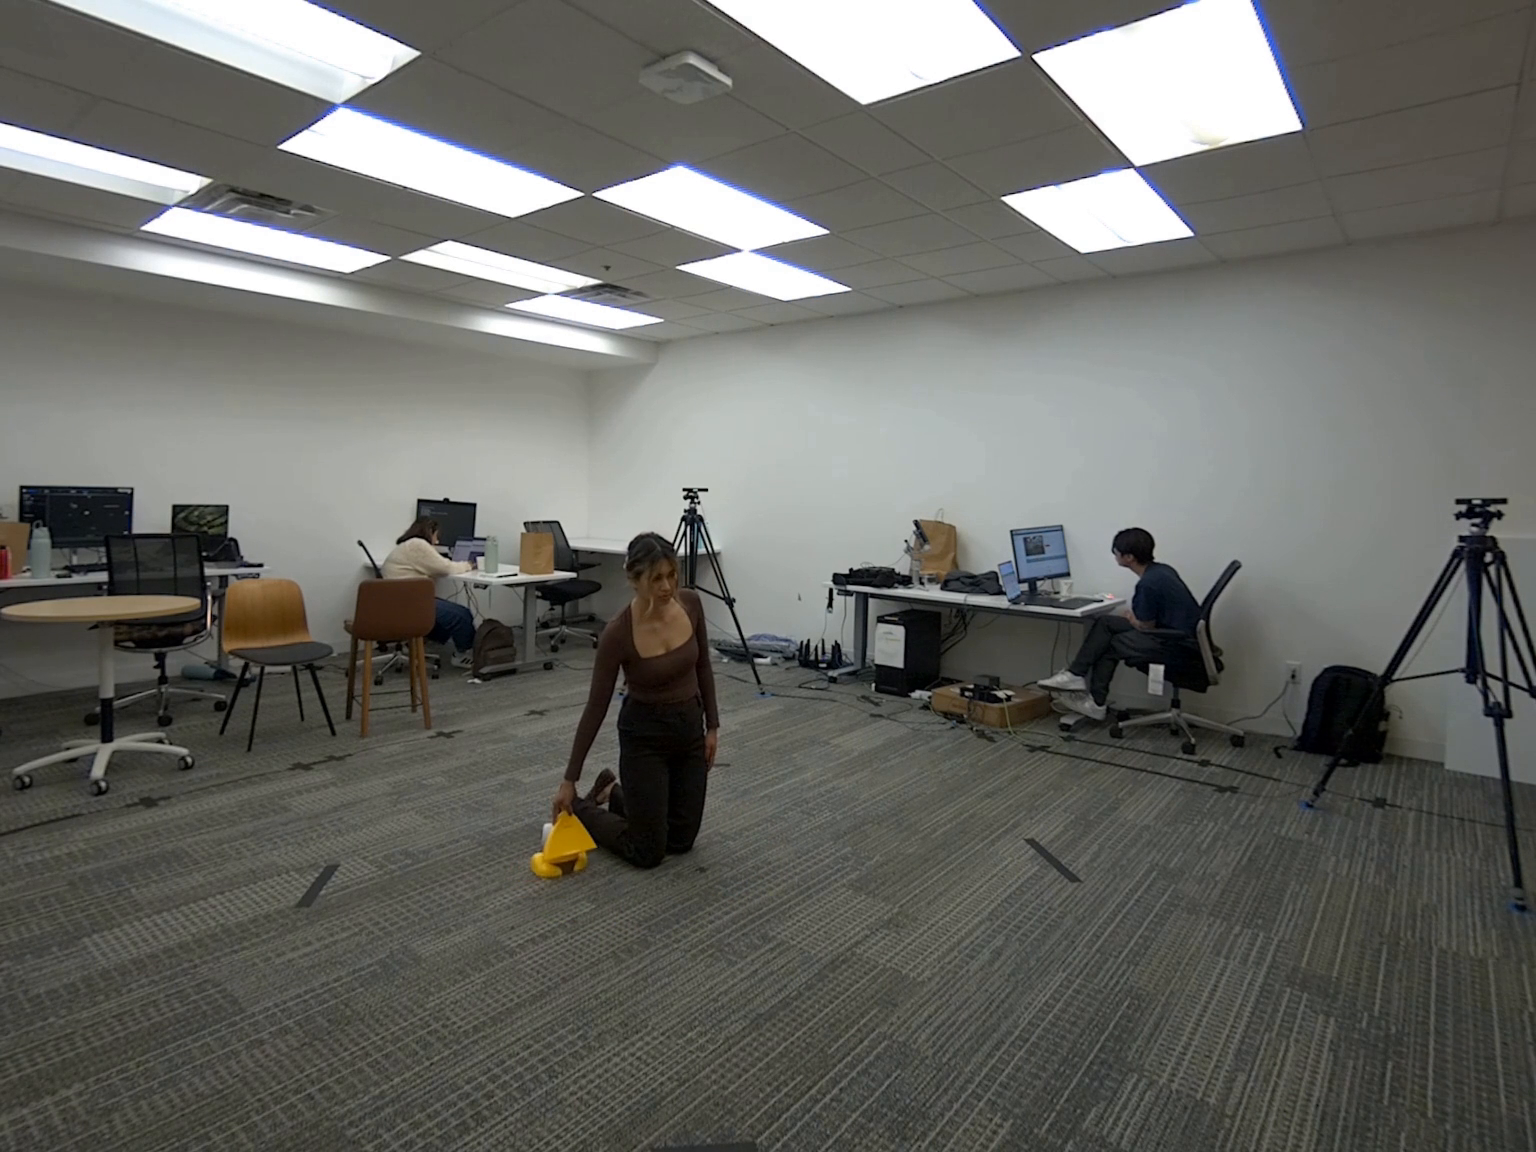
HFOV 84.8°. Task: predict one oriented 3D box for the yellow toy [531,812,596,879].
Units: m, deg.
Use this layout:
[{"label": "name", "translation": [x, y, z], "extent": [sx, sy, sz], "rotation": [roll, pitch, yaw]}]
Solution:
[{"label": "yellow toy", "translation": [-0.771, 0.949, 3.108], "extent": [0.199, 0.230, 0.199], "rotation": [-3, 5, -39]}]
